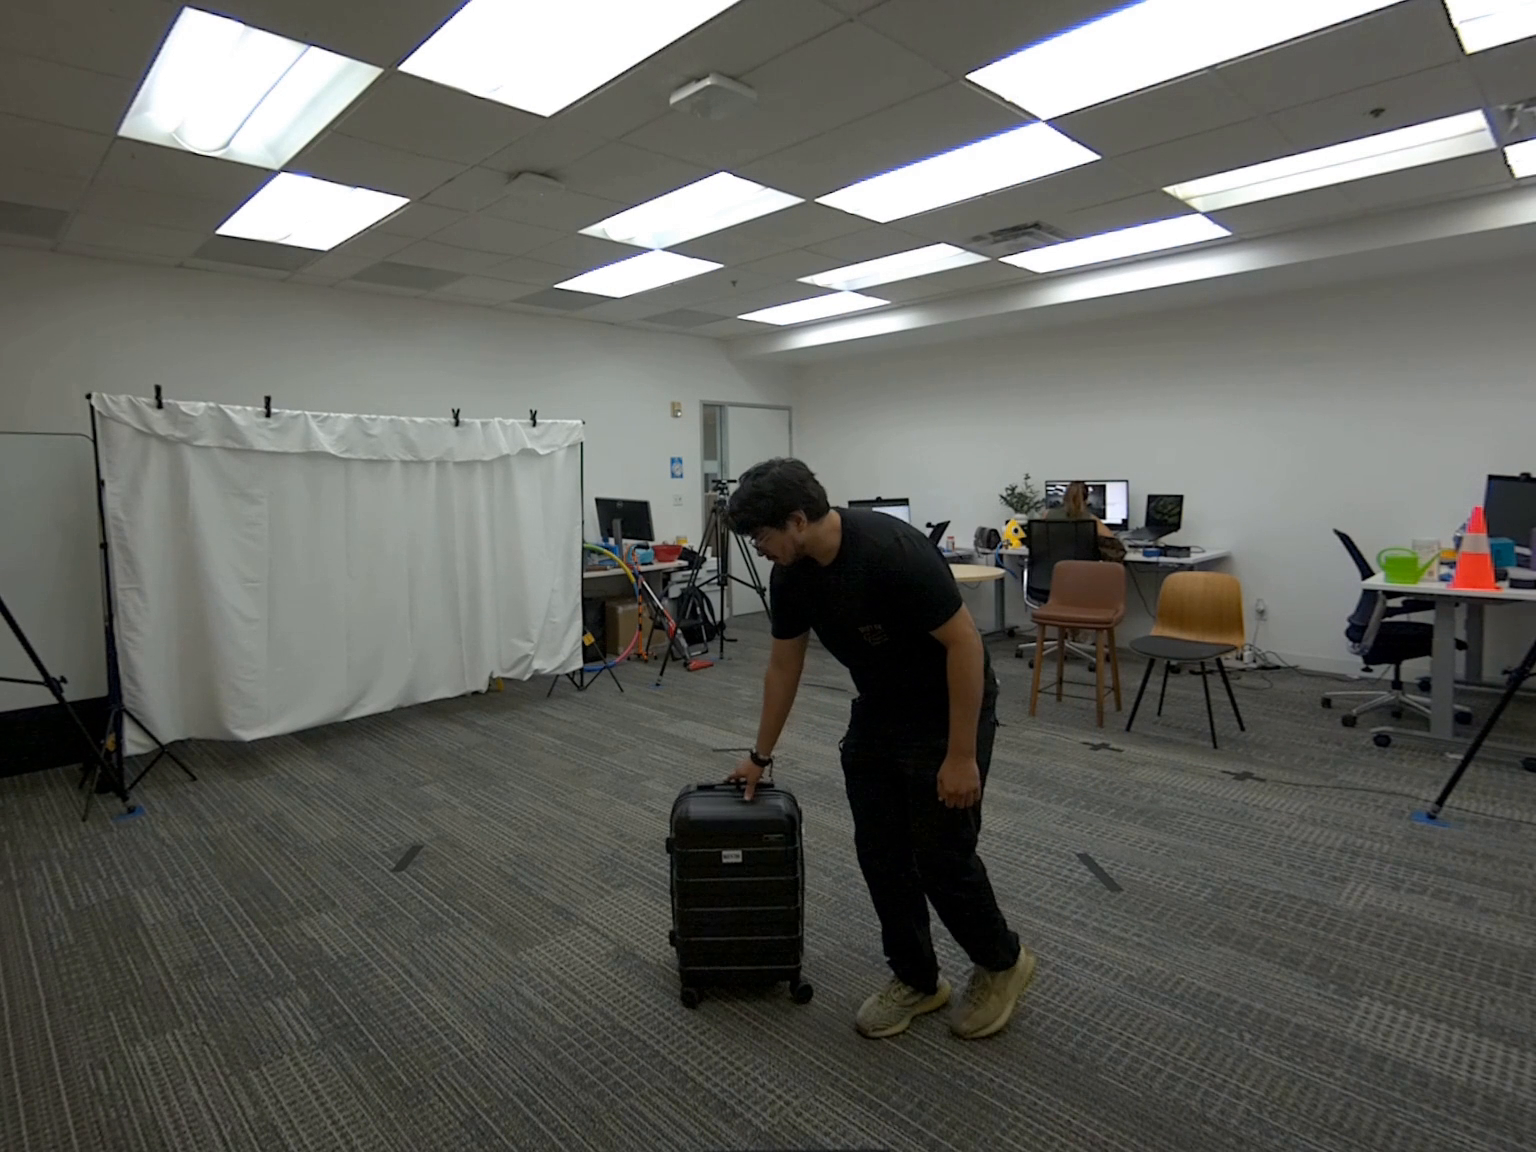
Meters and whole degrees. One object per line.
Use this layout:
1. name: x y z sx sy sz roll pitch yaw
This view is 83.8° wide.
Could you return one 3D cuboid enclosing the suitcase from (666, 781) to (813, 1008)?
1. suitcase: -0.080 0.856 2.383 0.376 0.547 0.249 -1 4 0
